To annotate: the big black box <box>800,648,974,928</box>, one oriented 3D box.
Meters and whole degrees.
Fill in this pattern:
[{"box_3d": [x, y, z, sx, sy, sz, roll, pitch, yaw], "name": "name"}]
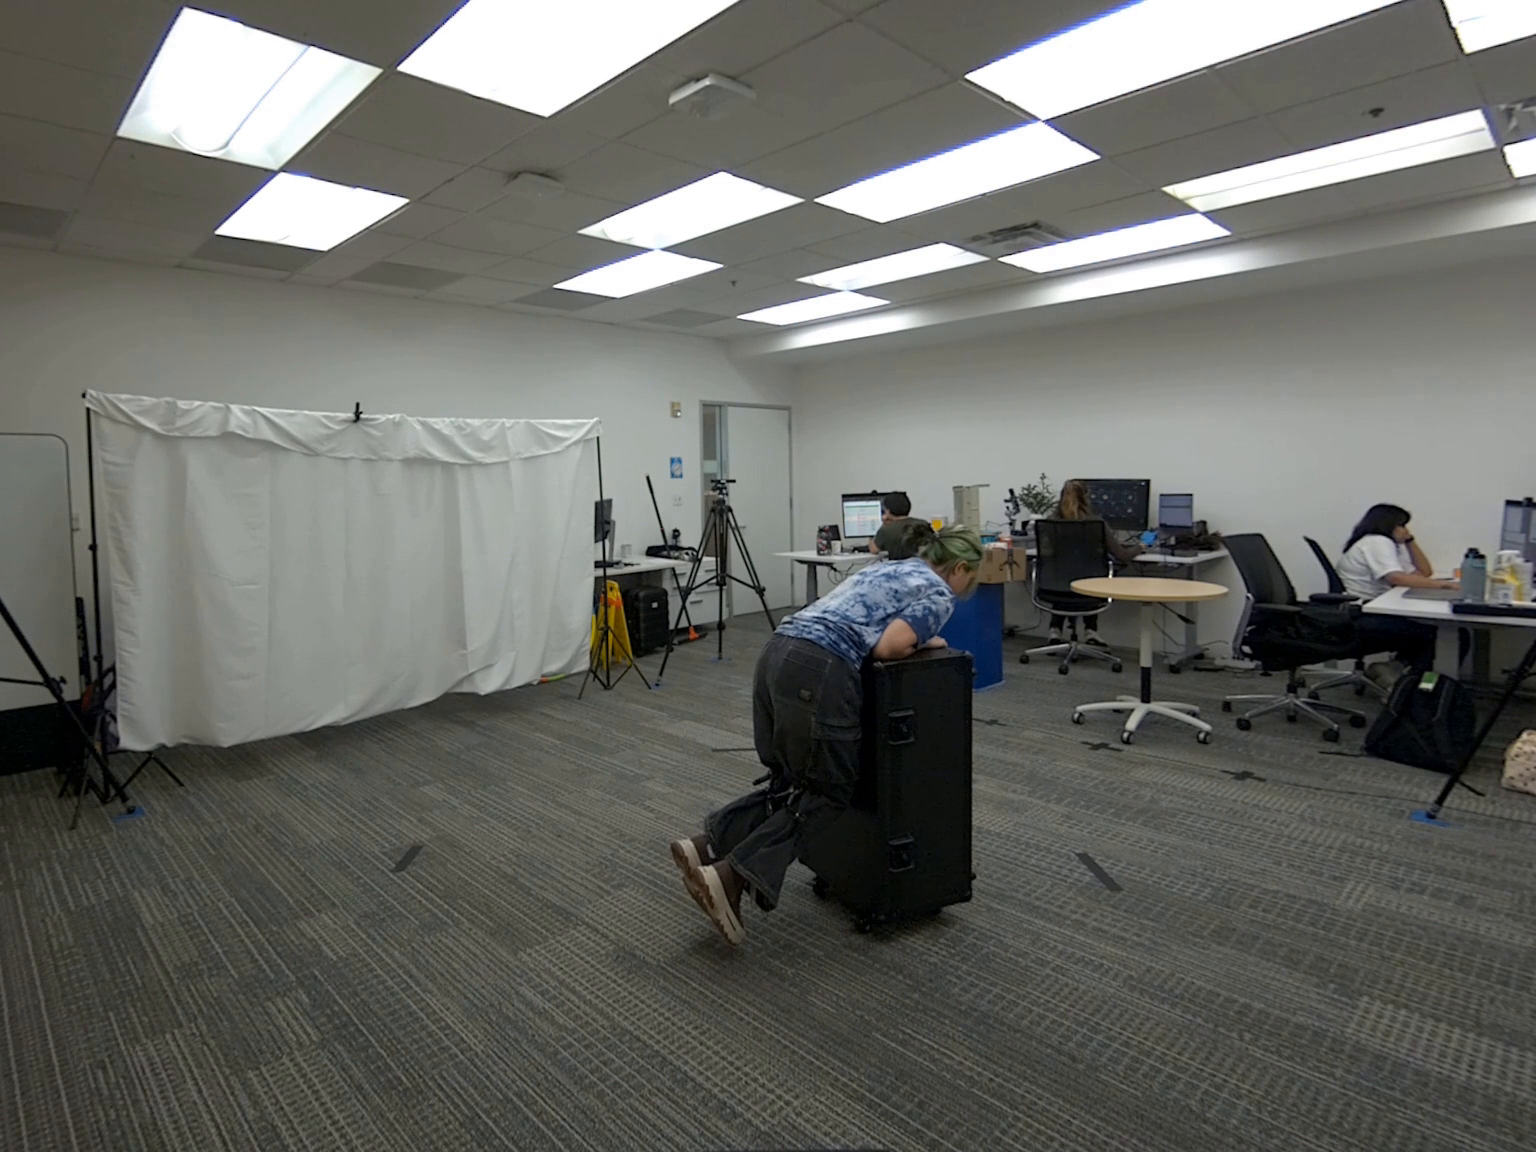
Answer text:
[{"box_3d": [0.384, 0.599, 2.796, 0.388, 0.858, 0.534, -2, 5, -26], "name": "big black box"}]
